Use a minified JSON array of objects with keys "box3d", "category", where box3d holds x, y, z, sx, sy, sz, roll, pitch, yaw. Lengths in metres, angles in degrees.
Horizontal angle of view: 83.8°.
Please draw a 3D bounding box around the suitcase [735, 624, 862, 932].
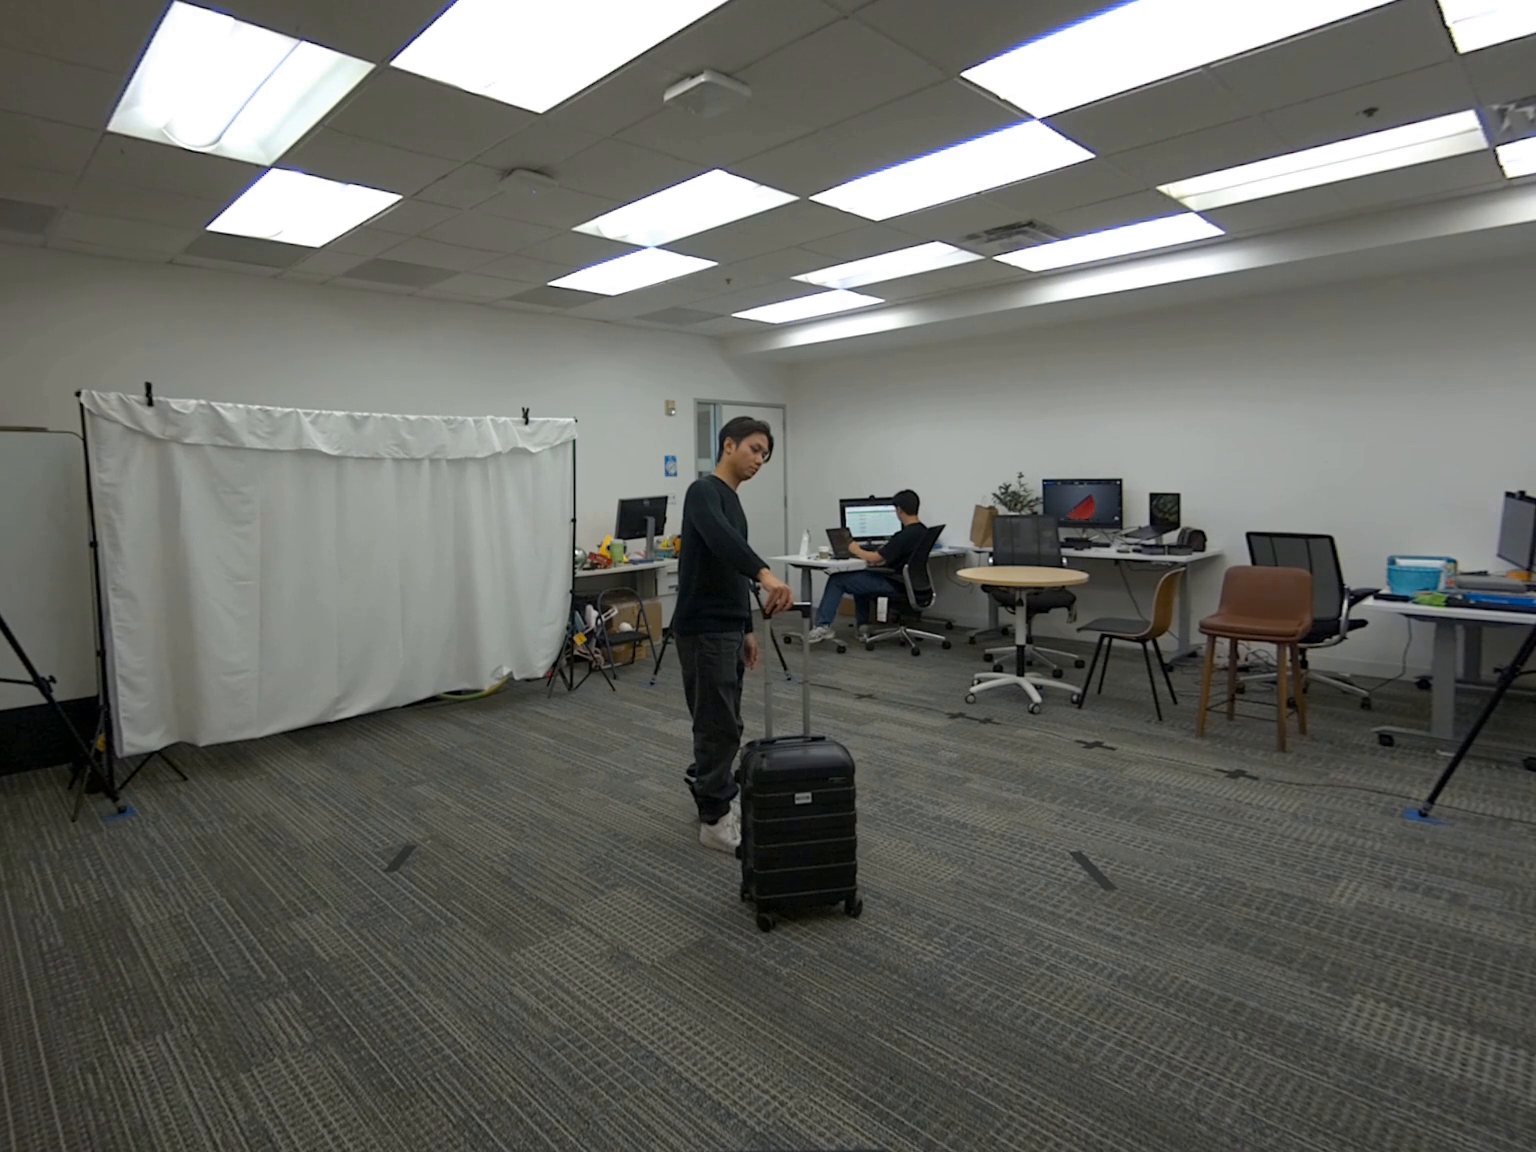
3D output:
[{"box3d":[0.098,0.602,2.750,0.381,0.973,0.261,-2,6,-10],"category":"suitcase"}]
